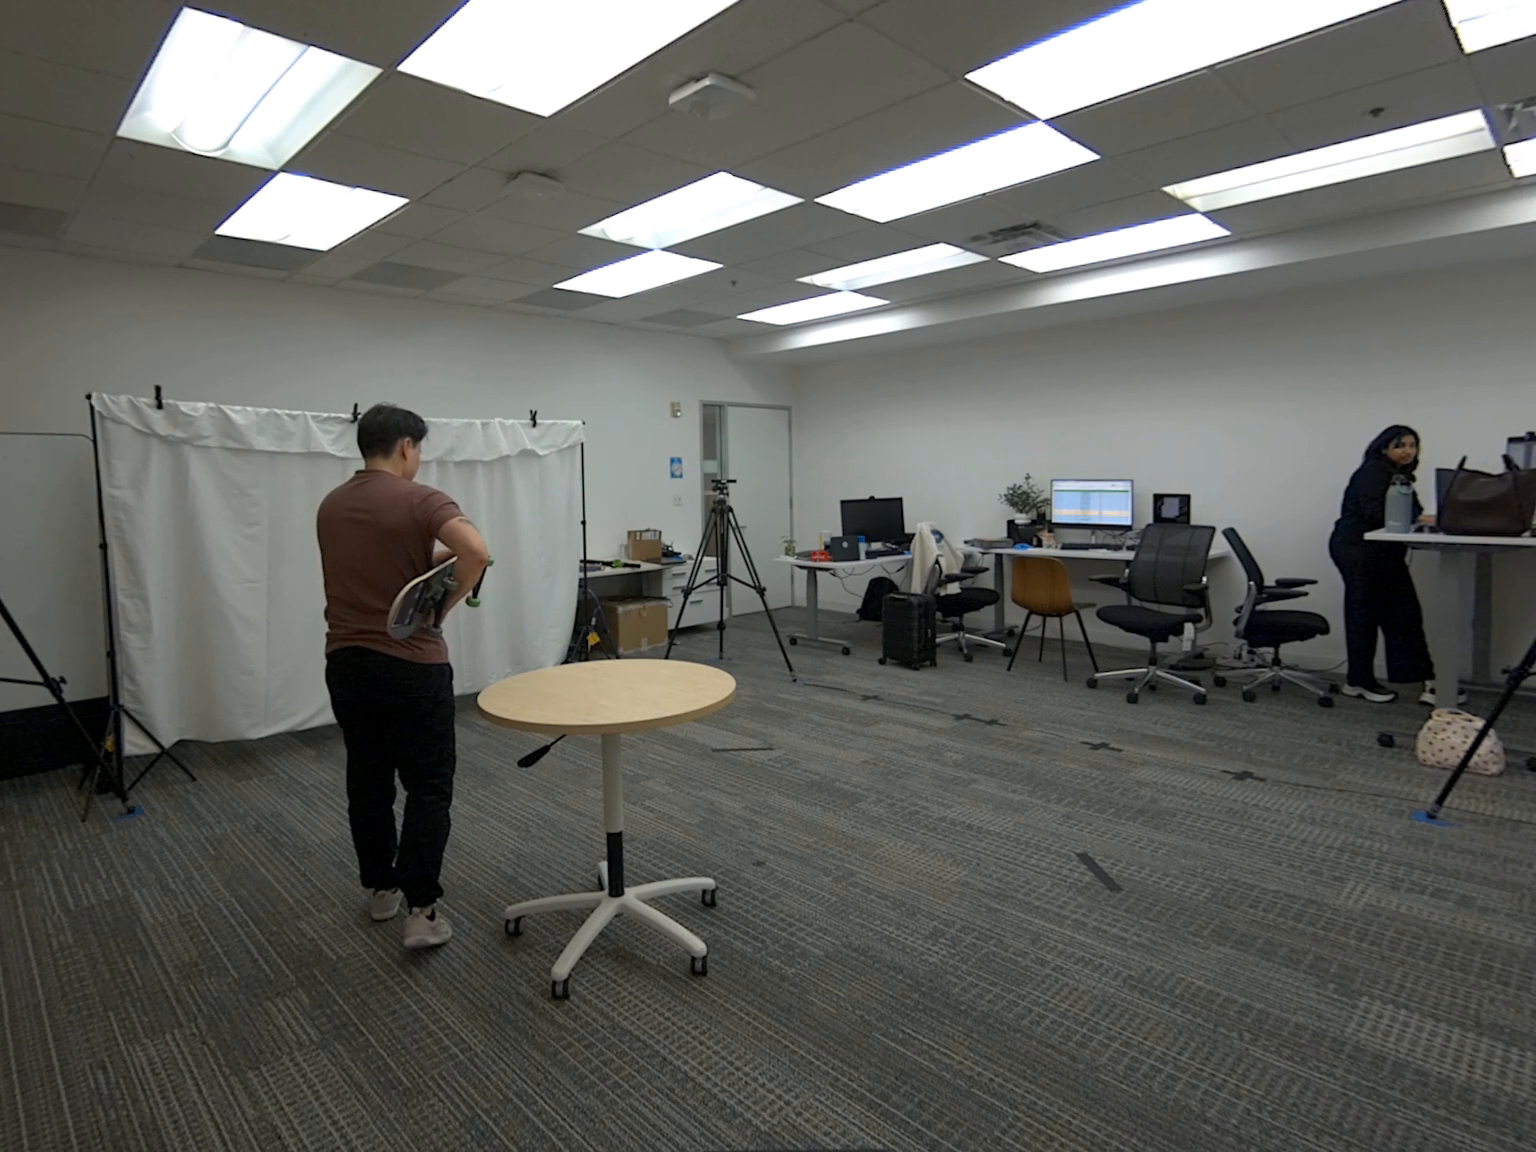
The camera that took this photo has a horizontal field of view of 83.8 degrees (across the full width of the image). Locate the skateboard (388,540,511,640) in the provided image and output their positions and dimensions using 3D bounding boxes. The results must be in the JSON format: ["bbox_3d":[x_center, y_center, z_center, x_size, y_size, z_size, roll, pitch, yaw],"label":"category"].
[{"bbox_3d":[-1.010,0.052,2.733,0.110,0.192,0.792,19,10,-5],"label":"skateboard"}]
